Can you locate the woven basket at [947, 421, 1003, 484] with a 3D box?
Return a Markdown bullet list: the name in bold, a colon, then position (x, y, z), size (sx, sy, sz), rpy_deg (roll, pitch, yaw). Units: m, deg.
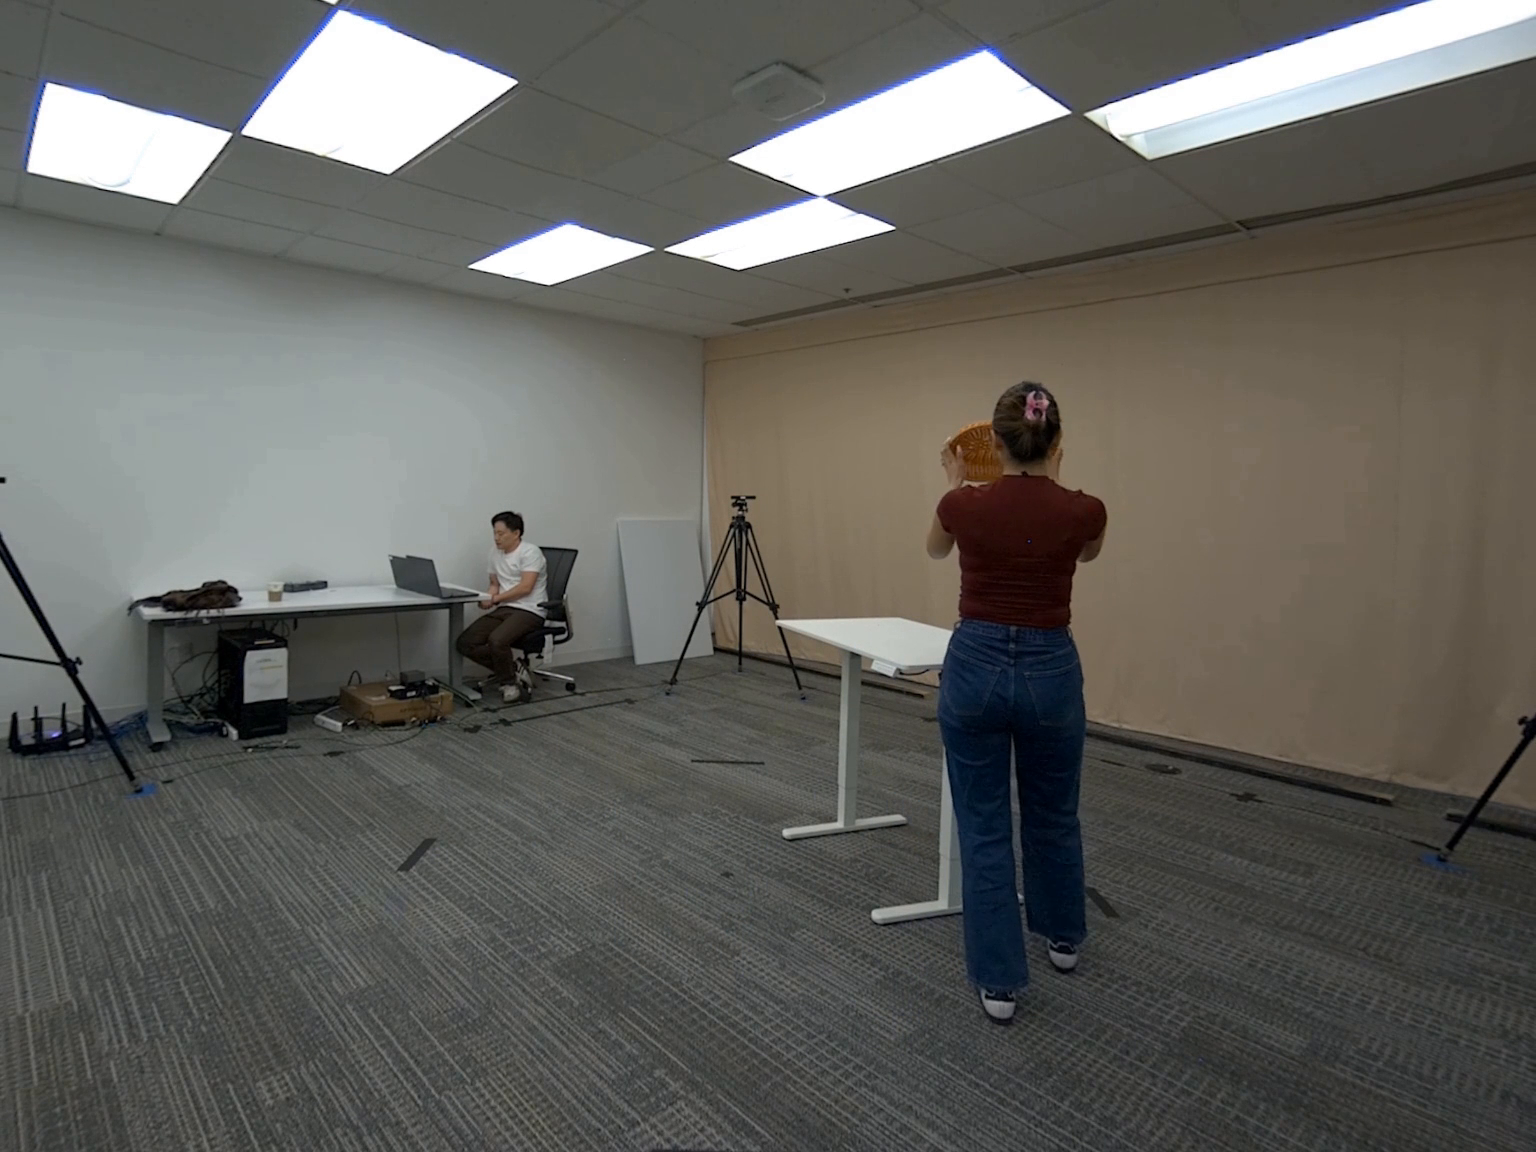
- **woven basket**: position (0.742, -0.417, 2.727), size (0.353, 0.075, 0.246), rpy_deg (0, -42, 9)
